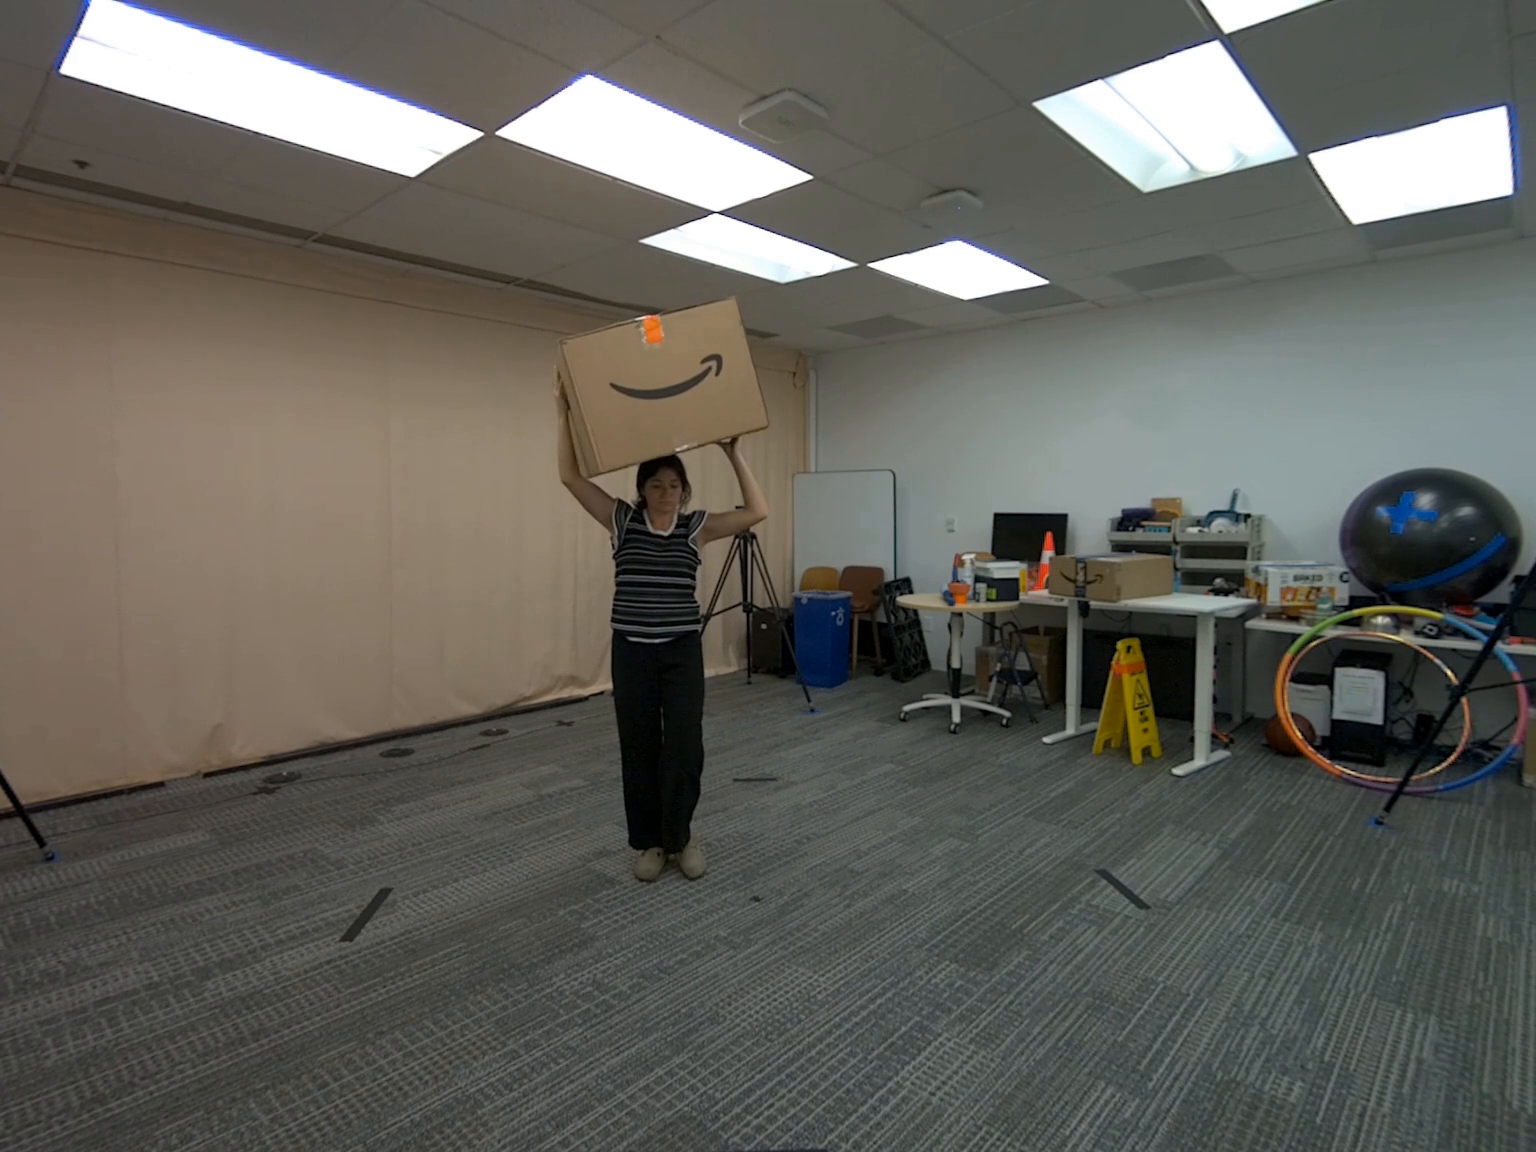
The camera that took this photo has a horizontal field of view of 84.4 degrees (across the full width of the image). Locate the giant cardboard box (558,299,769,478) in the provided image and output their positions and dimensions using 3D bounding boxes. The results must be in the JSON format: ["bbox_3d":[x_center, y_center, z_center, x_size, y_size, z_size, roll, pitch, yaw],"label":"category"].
[{"bbox_3d":[-0.445,-0.636,3.116,0.571,0.423,1.043,-17,8,-13],"label":"giant cardboard box"}]
